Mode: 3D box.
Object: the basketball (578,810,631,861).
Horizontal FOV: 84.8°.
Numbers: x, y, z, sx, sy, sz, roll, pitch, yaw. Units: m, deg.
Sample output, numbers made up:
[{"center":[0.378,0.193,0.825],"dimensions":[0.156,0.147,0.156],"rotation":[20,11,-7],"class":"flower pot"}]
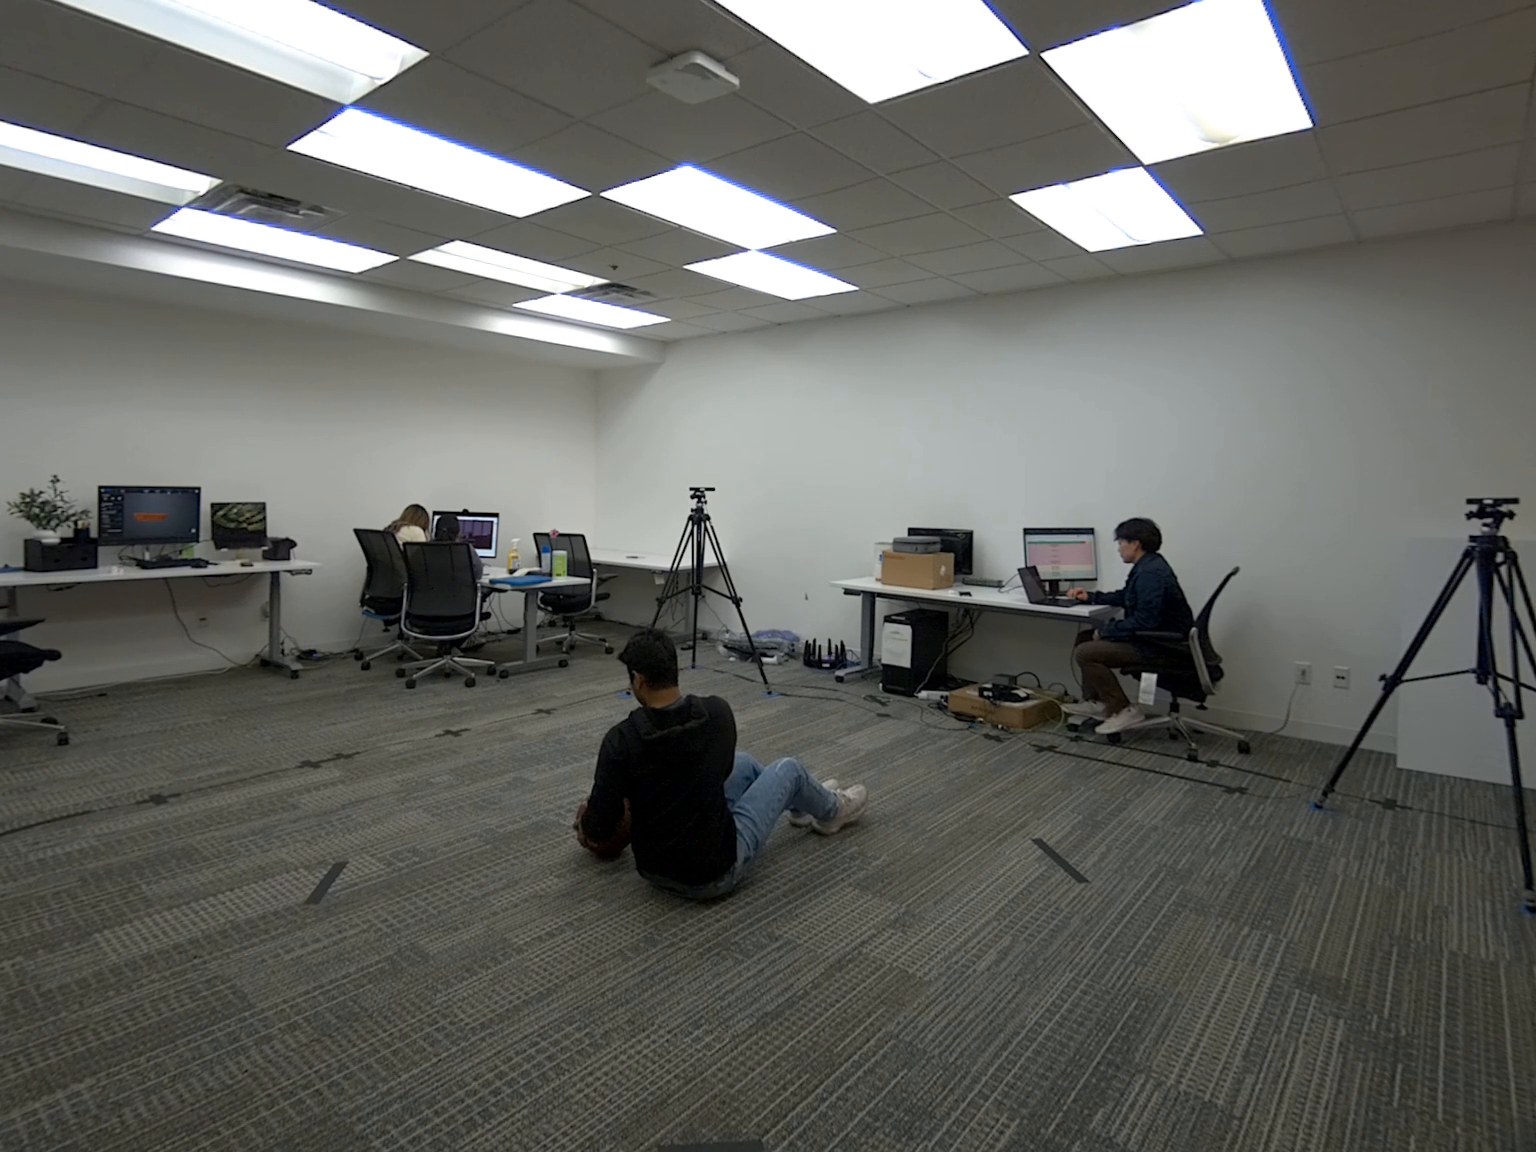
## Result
[{"center":[-0.620,0.924,3.223],"dimensions":[0.235,0.235,0.237],"rotation":[1,4,-2],"class":"basketball"}]
